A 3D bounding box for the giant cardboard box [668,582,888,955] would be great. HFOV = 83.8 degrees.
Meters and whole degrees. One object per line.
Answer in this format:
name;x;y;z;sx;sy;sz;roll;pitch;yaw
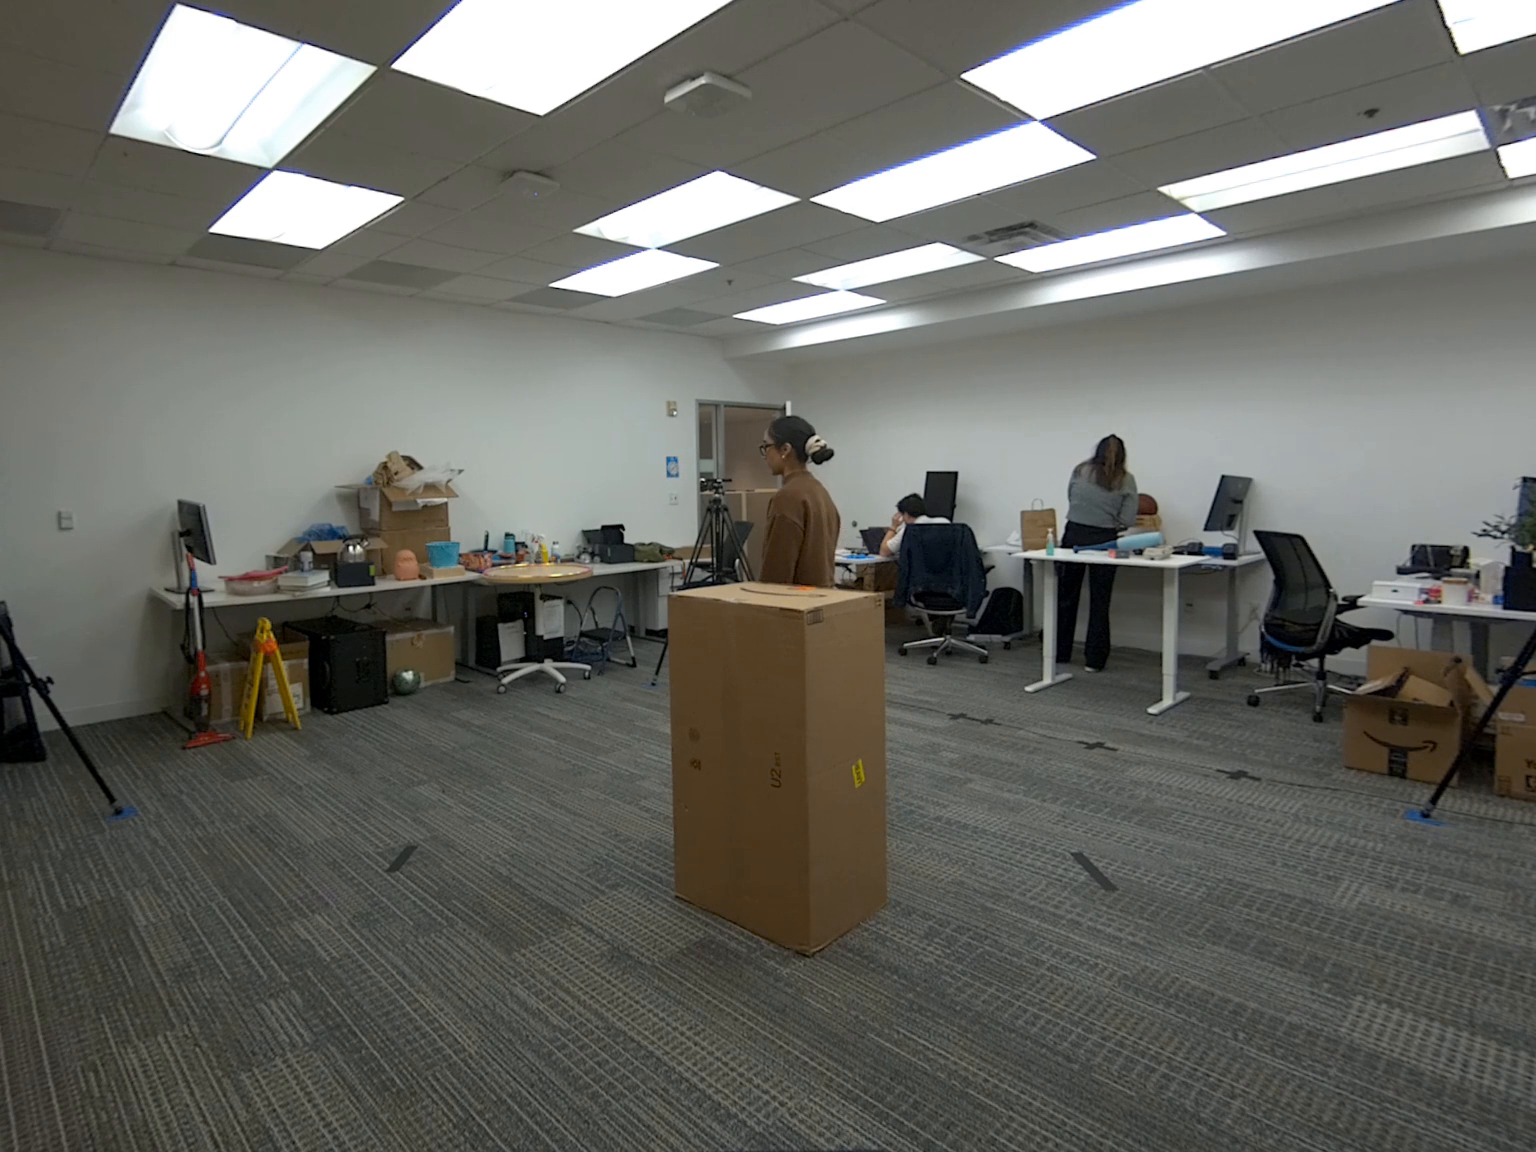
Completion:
giant cardboard box;0.030;0.568;2.807;0.595;1.022;0.415;3;5;42
